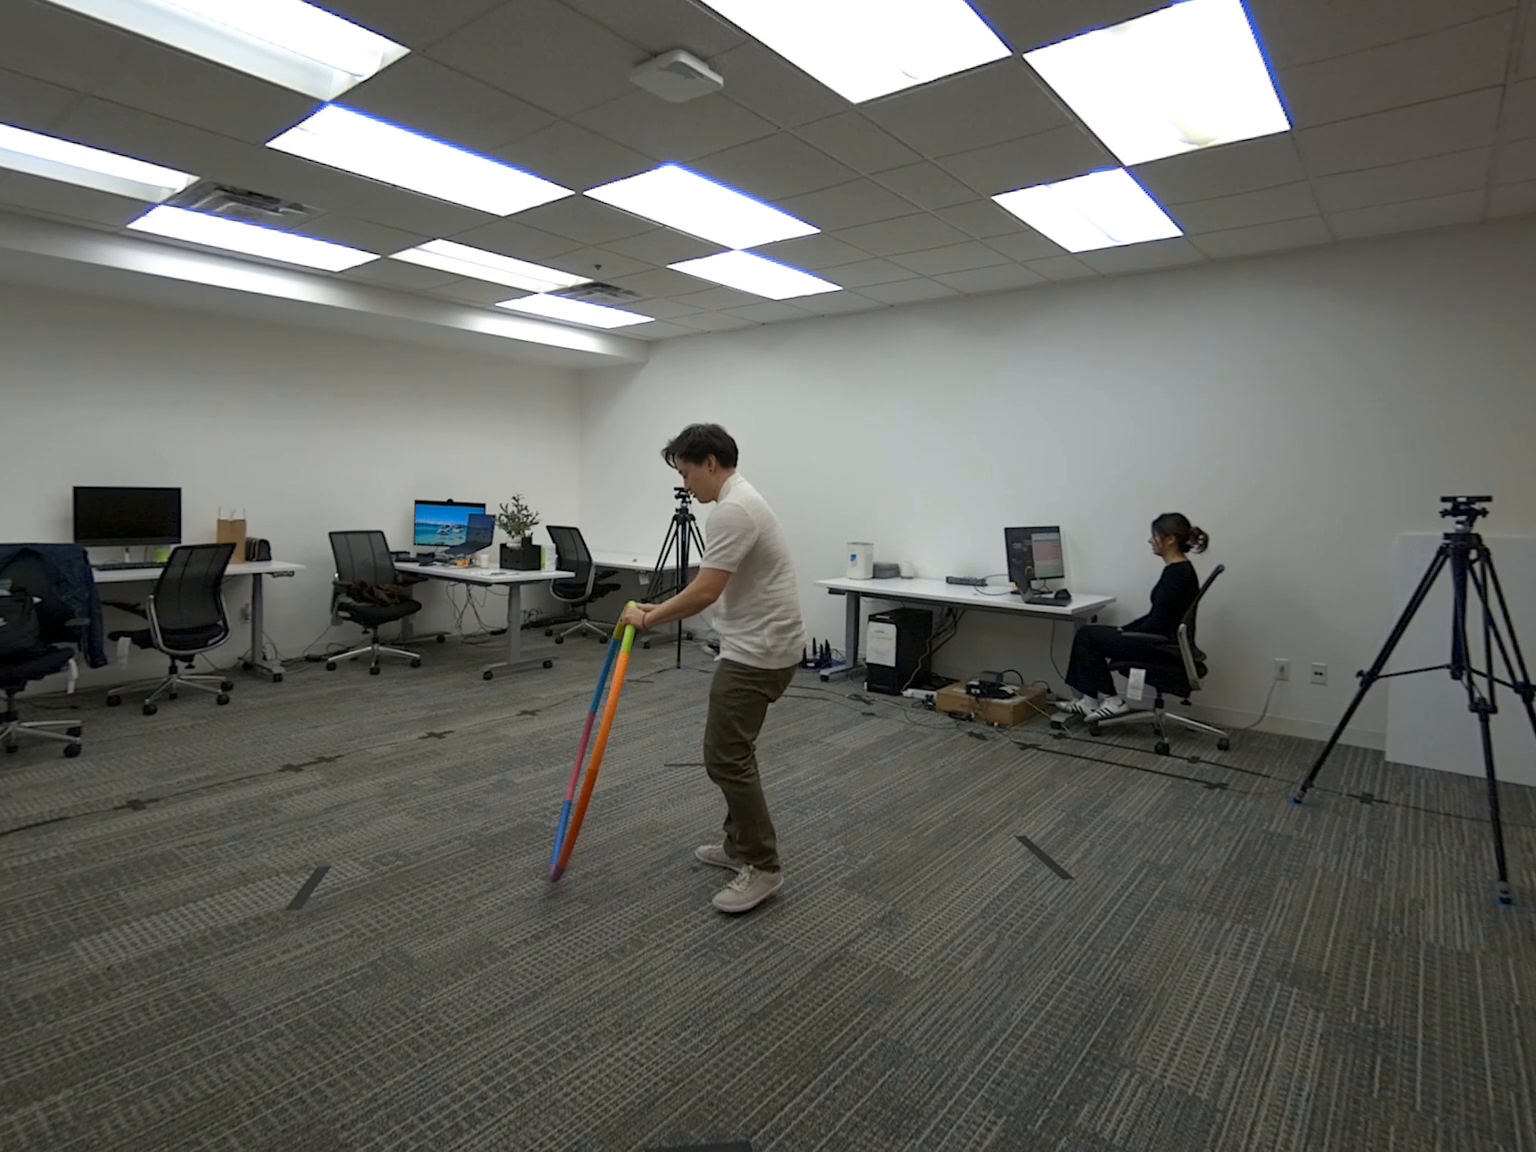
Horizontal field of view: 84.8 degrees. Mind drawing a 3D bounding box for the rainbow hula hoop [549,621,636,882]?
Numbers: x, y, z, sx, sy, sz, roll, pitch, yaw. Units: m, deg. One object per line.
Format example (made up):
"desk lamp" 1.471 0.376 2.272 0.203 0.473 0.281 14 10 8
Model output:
"rainbow hula hoop" -0.624 0.567 3.024 0.035 0.978 0.991 17 2 -11
